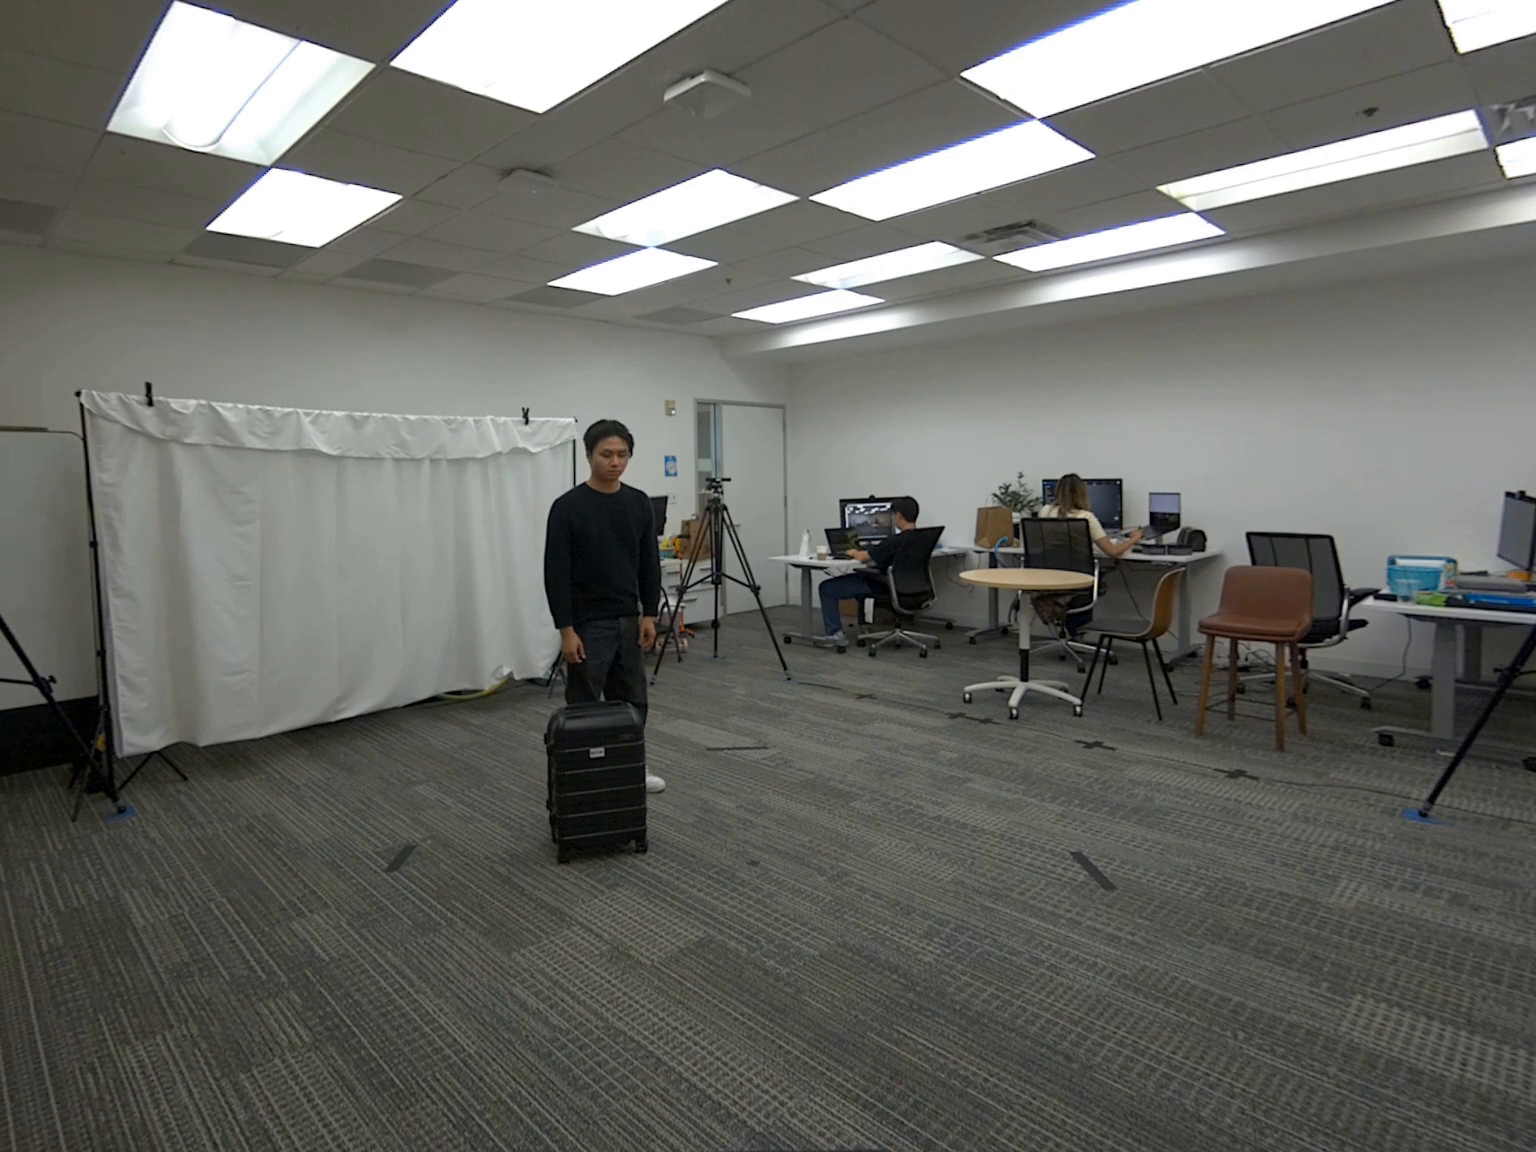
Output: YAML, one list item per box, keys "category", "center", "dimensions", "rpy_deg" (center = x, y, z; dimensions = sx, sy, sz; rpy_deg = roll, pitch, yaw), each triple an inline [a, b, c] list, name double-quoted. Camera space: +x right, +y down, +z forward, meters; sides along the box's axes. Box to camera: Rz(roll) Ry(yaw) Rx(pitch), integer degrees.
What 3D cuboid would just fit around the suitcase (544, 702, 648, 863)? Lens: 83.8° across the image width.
- category: "suitcase"
  center: [-0.642, 0.762, 3.243]
  dimensions: [0.370, 0.546, 0.253]
  rpy_deg: [-3, 6, -17]
